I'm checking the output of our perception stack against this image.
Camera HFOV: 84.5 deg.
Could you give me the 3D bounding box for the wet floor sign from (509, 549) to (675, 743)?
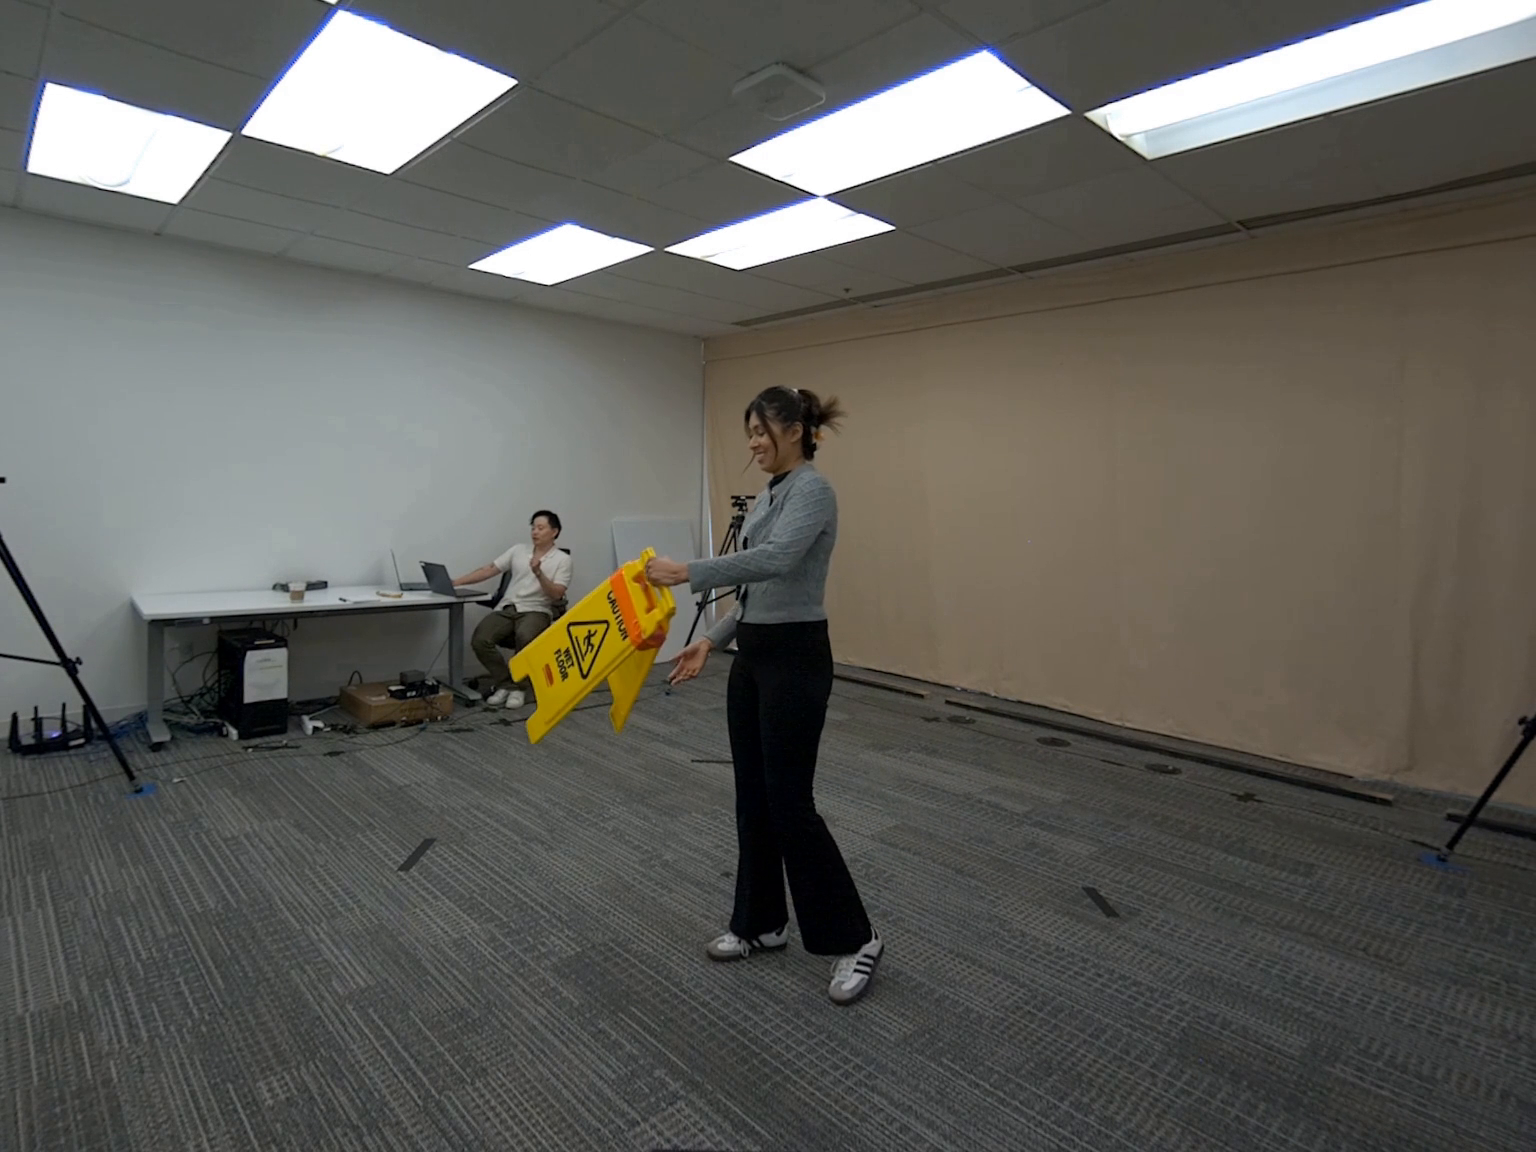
[{"bbox_3d":[-0.446,0.185,2.379,0.283,0.289,0.646,2,-37,-41],"label":"wet floor sign"}]
